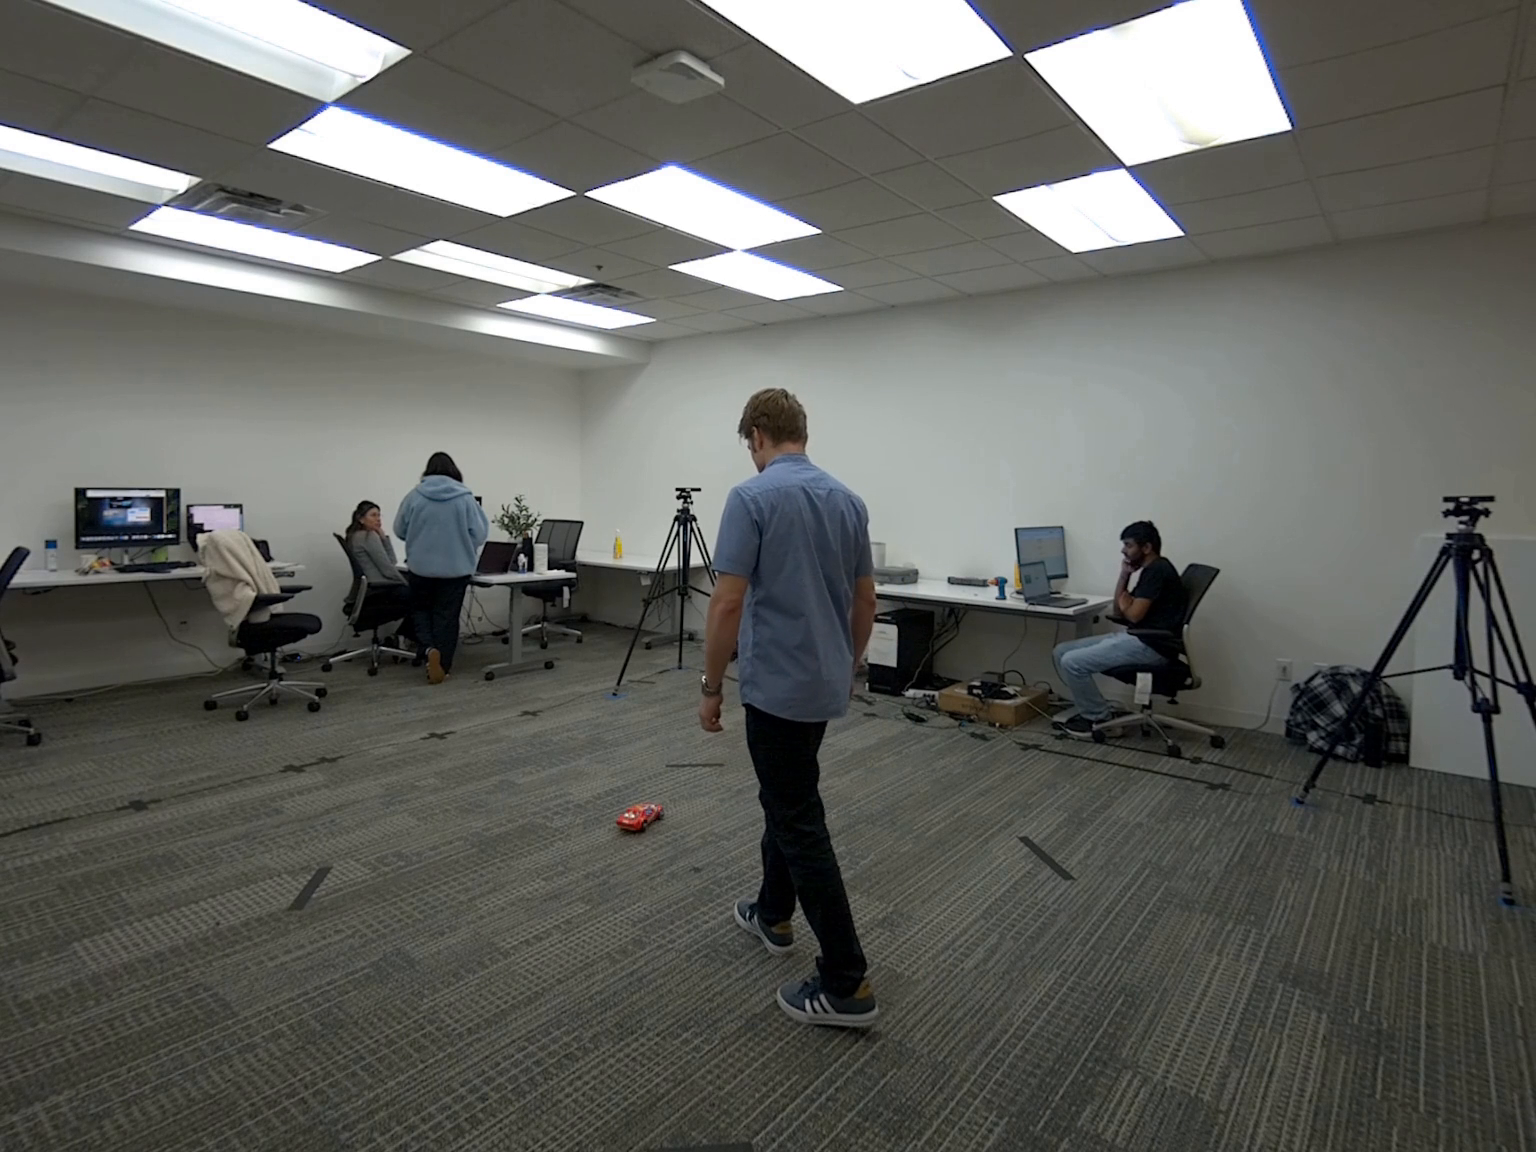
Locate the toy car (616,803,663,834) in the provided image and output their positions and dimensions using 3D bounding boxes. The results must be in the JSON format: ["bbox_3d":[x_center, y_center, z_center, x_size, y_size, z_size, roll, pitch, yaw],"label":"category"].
[{"bbox_3d":[-0.544,0.997,3.507,0.134,0.083,0.247,3,-5,24],"label":"toy car"}]
